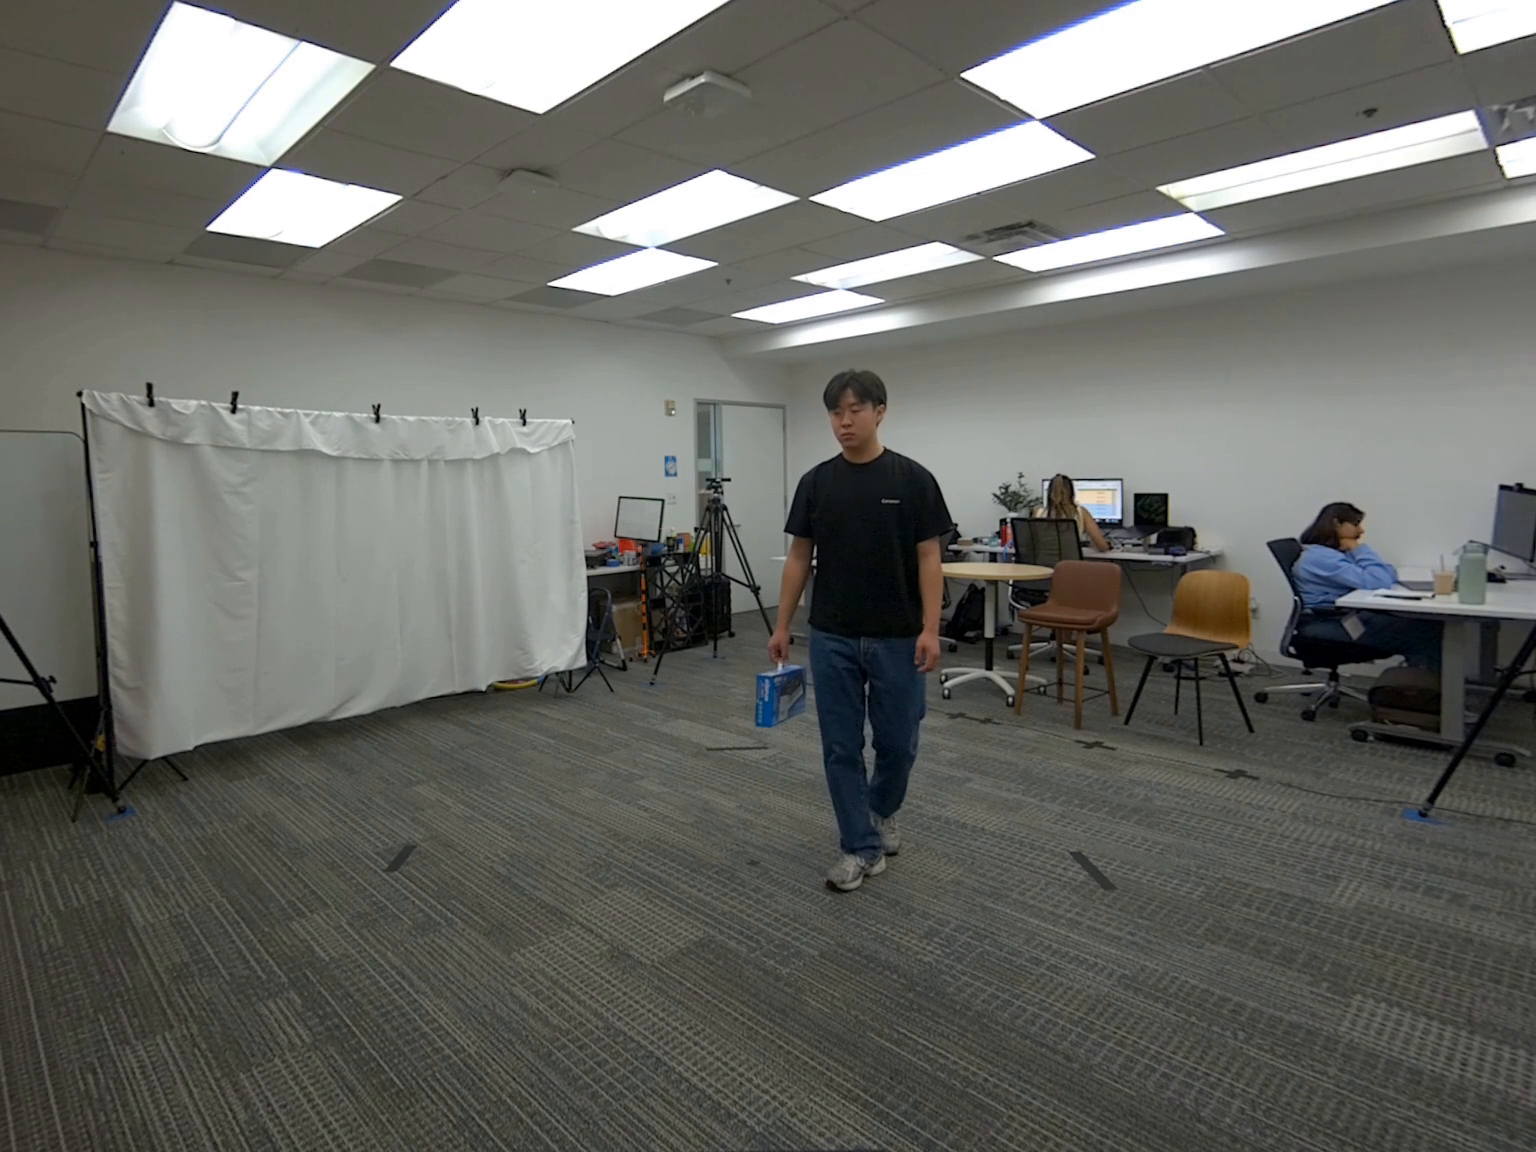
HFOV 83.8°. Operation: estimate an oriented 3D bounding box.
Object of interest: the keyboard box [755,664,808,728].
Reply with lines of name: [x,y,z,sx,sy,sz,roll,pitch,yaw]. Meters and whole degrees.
keyboard box: [0.058,0.422,3.061,0.060,0.176,0.428,1,-2,17]
